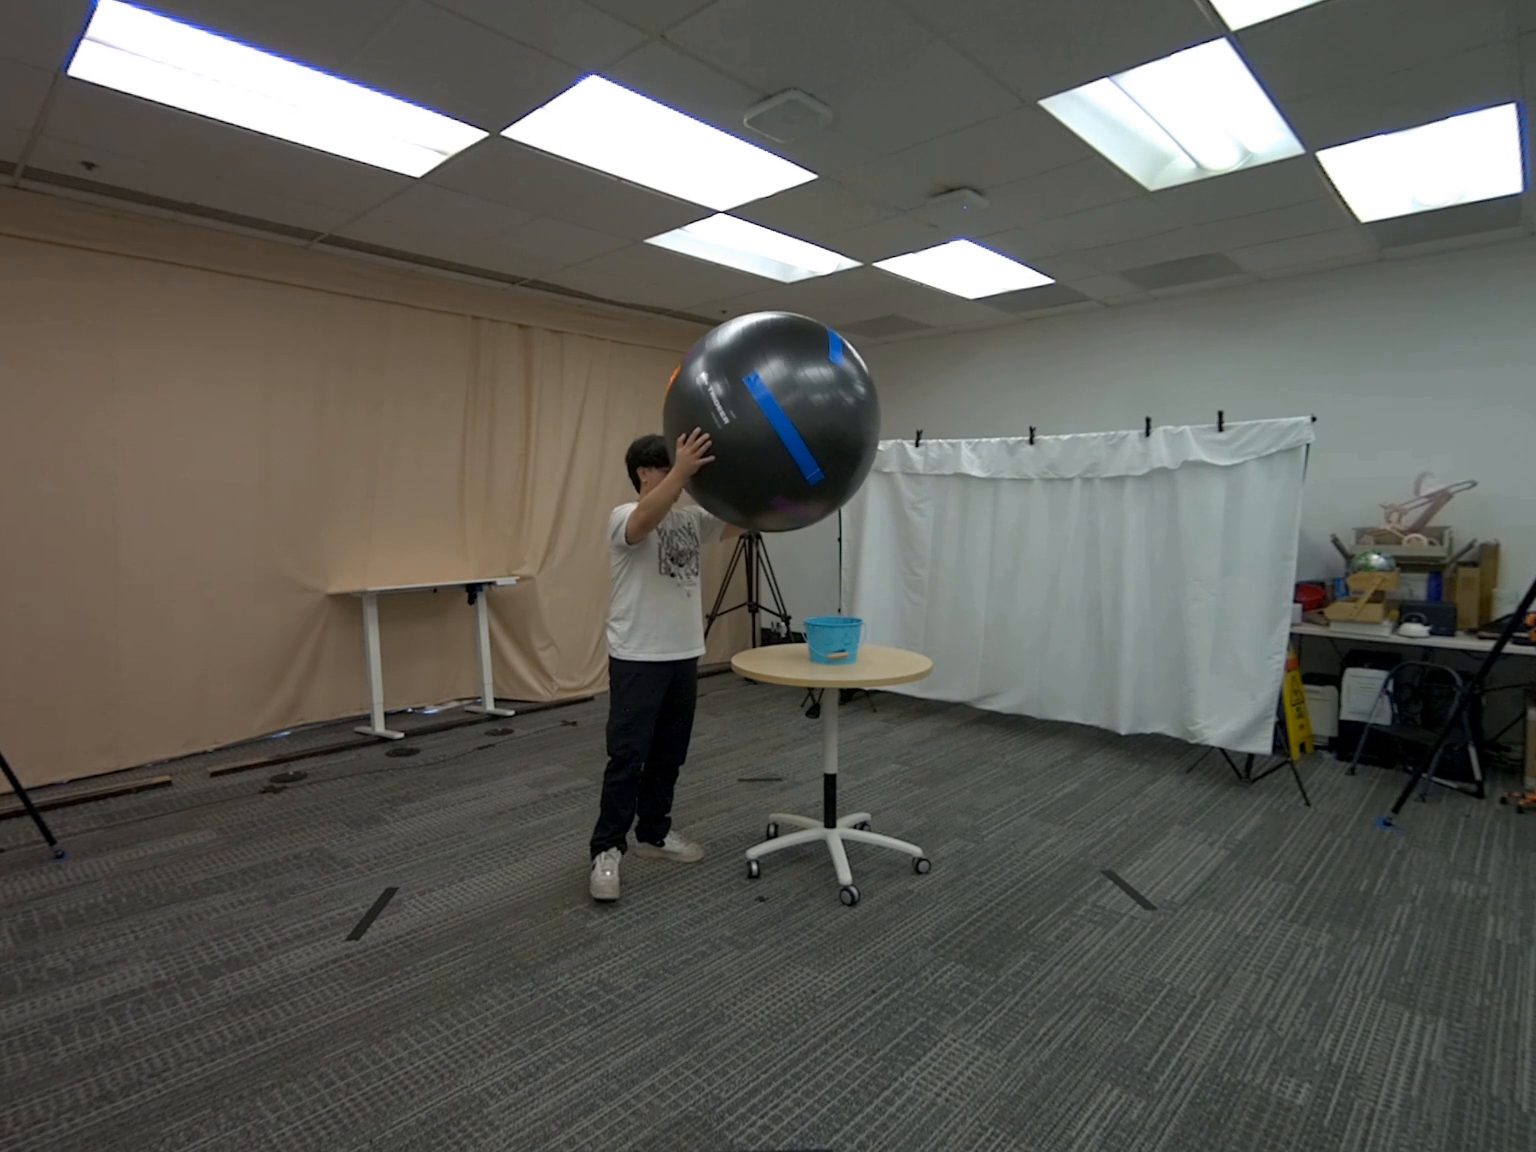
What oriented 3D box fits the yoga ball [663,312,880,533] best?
[{"bbox_3d":[0.010,-0.524,2.952,0.757,0.756,0.760,0,4,-2],"label":"yoga ball"}]
